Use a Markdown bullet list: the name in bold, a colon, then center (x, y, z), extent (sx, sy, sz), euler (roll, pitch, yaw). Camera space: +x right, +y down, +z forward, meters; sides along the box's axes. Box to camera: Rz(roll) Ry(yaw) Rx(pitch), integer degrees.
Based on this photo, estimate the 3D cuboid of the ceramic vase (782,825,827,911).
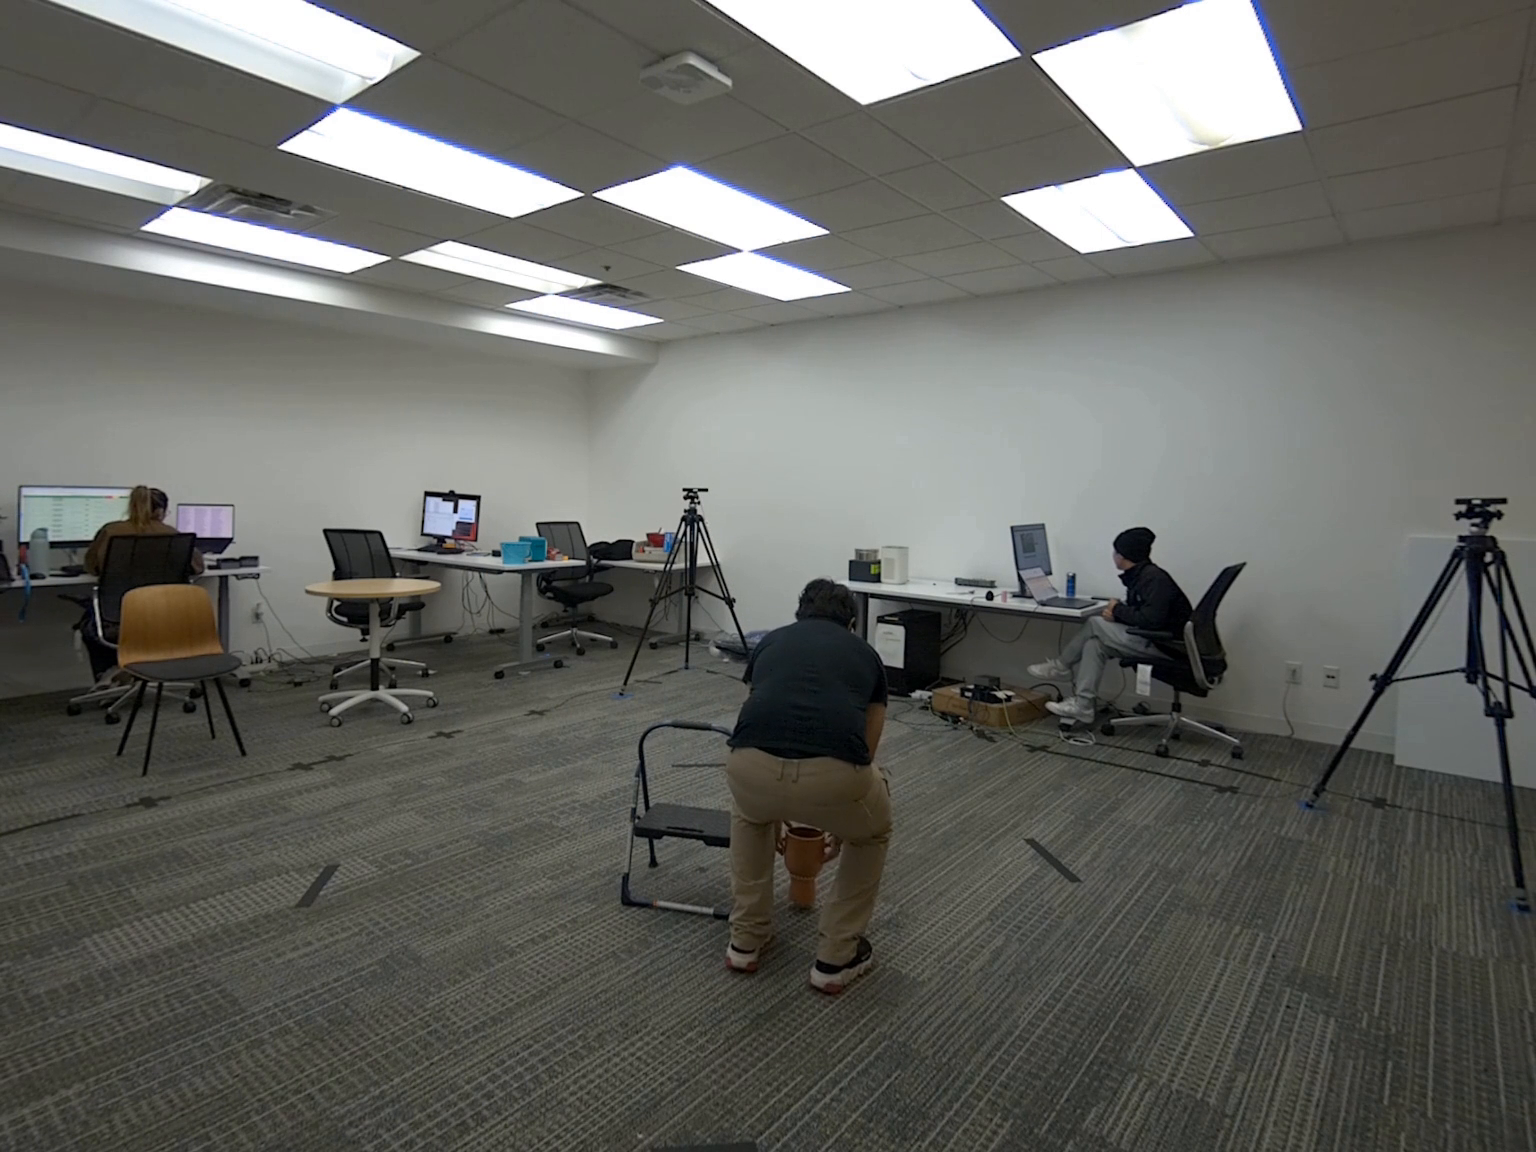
- **ceramic vase**: center (0.113, 0.965, 2.841), extent (0.164, 0.219, 0.130), euler (6, 3, 44)
